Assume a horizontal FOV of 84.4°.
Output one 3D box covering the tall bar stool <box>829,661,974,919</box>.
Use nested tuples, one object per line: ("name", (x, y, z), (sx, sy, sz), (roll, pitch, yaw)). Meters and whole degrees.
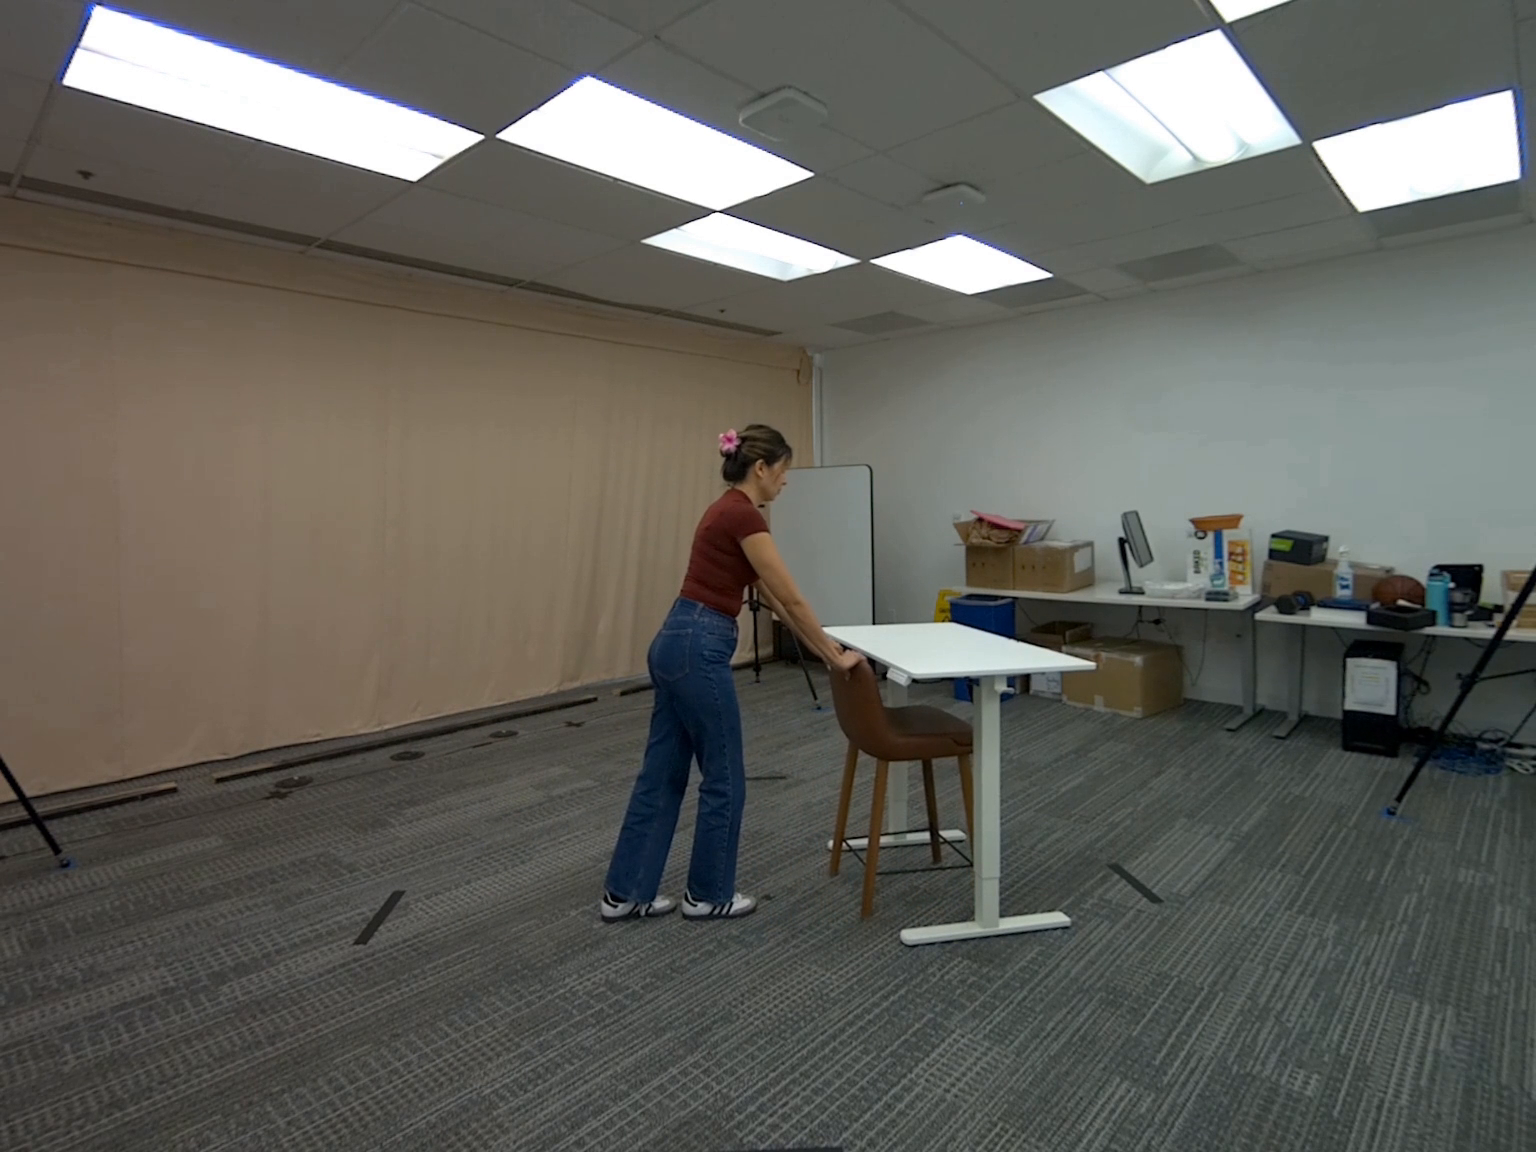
("tall bar stool", (0.474, 0.702, 2.998), (0.463, 0.887, 0.463), (-3, 5, -10))
